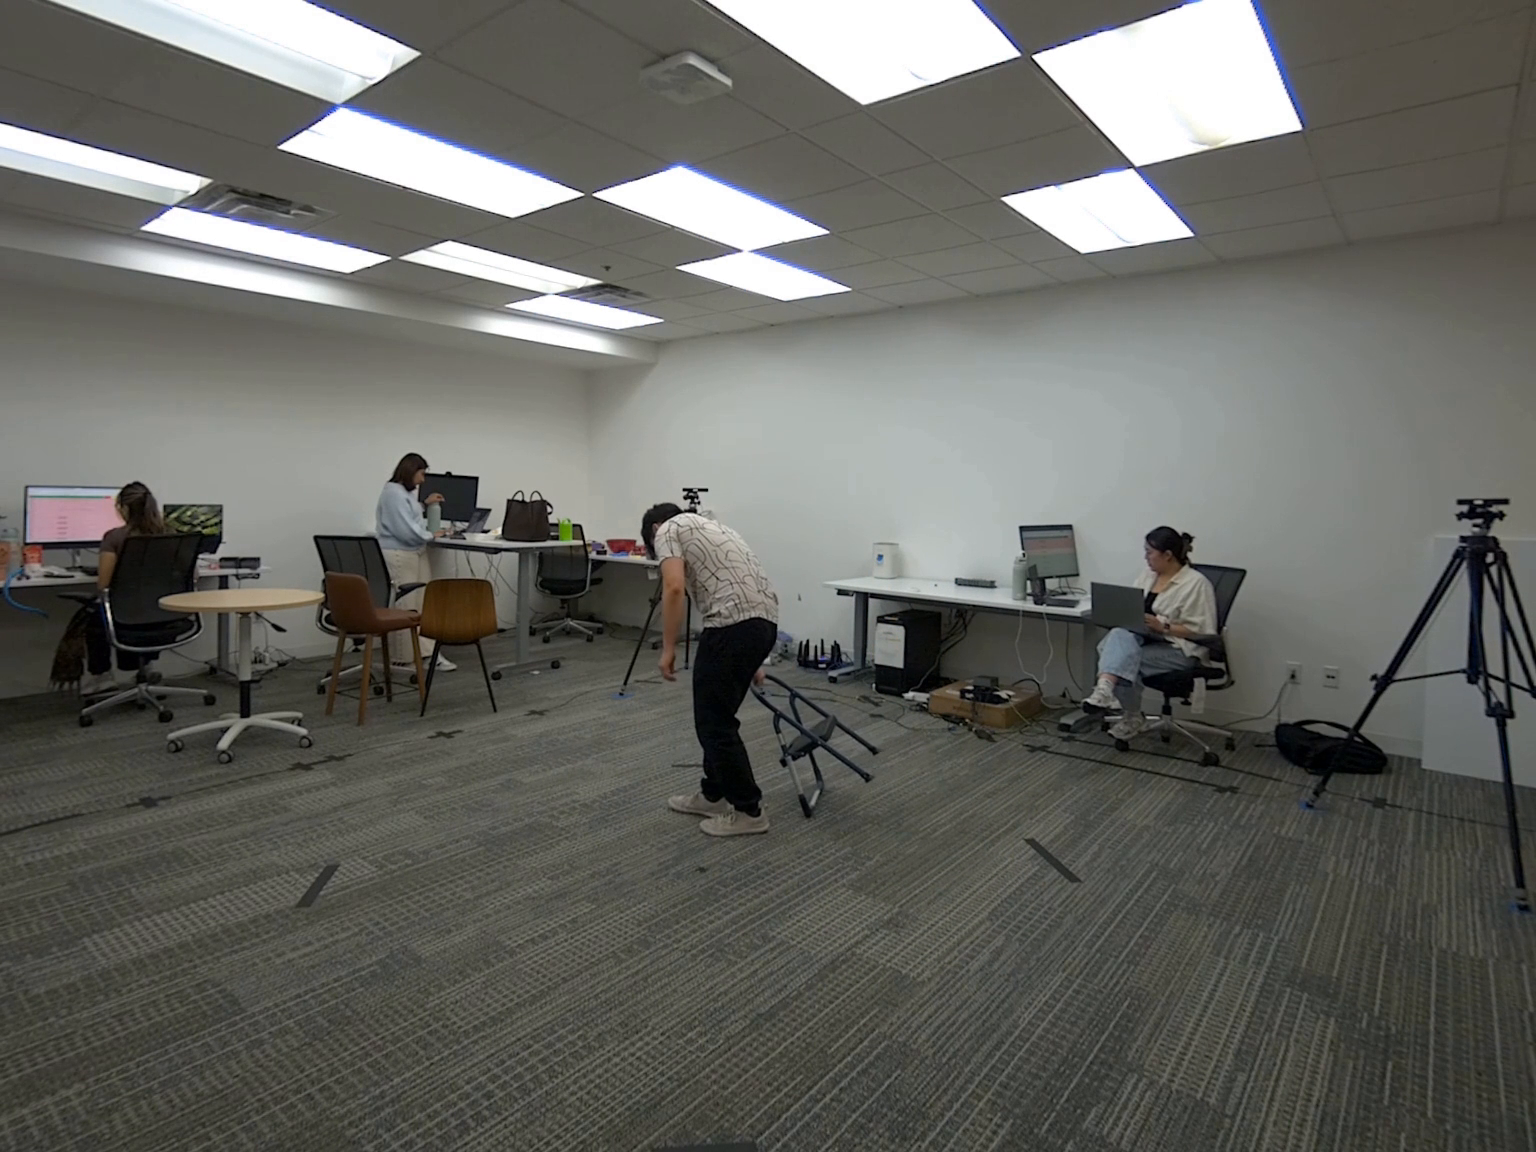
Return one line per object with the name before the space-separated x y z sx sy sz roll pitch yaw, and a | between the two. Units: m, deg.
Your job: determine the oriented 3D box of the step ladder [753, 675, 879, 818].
step ladder | 0.159 0.673 3.820 0.350 0.612 0.425 -36 -6 12
